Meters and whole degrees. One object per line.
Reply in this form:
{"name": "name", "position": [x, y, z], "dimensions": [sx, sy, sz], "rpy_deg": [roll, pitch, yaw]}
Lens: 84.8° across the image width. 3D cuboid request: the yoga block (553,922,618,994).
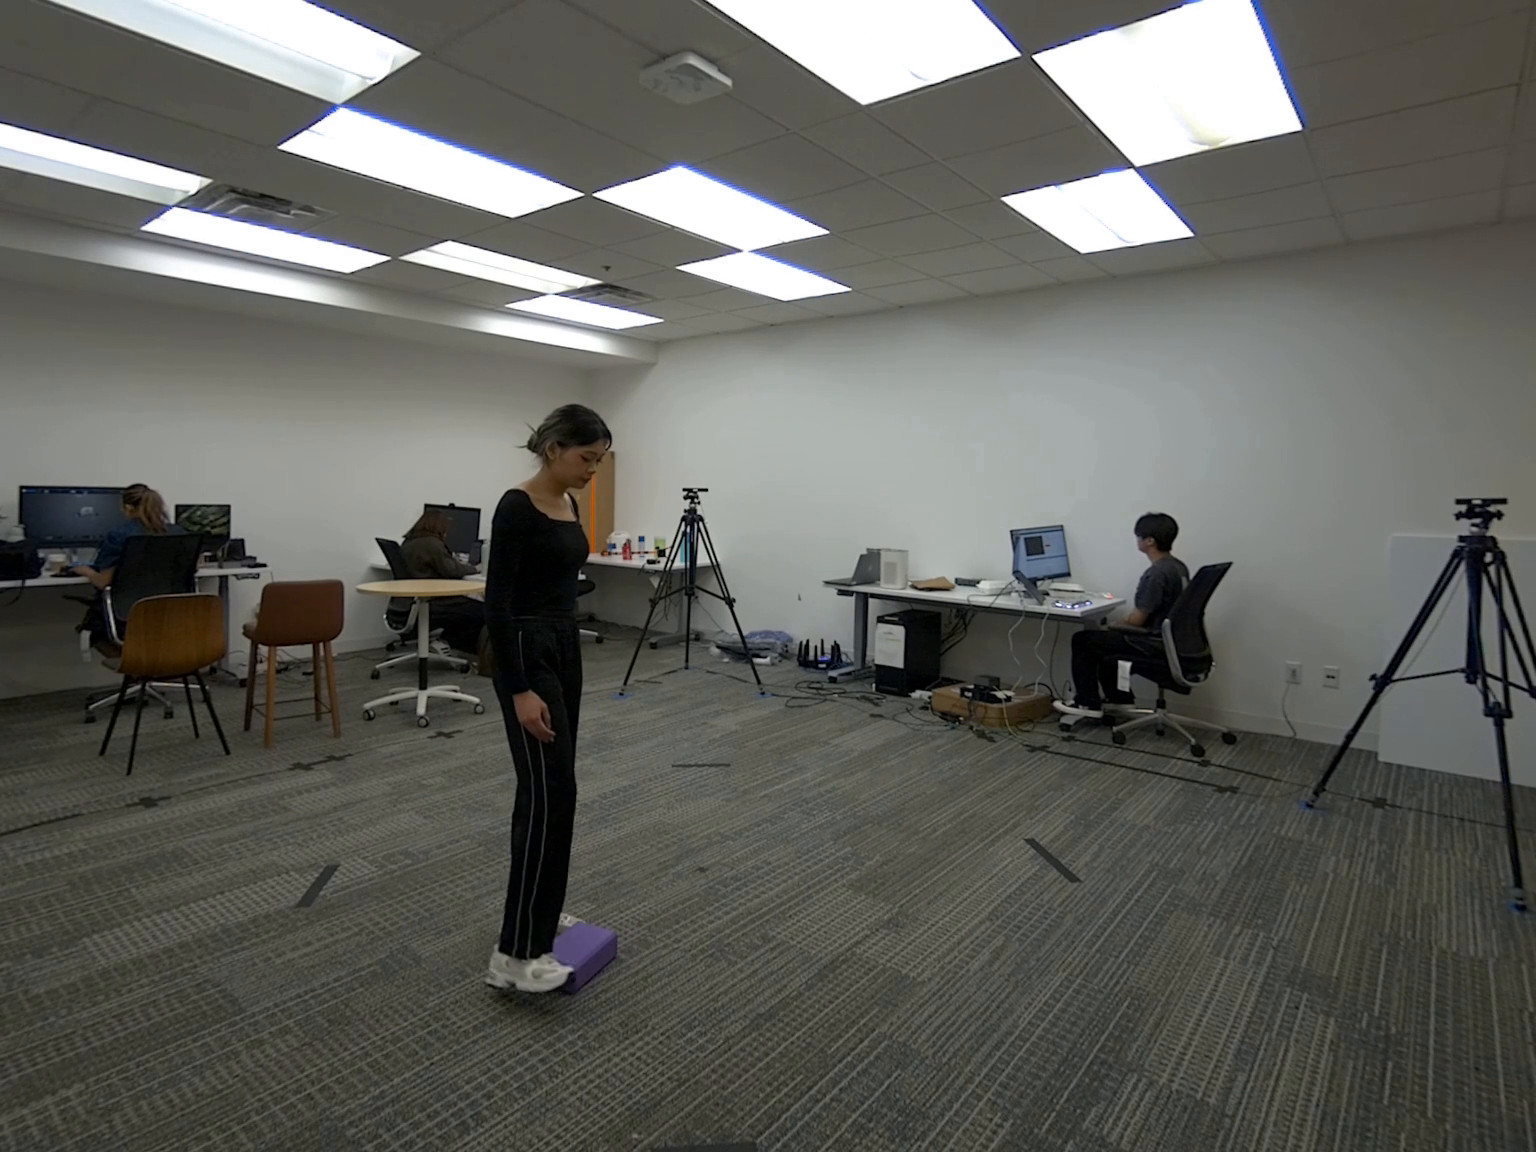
{"name": "yoga block", "position": [-0.561, 1.088, 2.448], "dimensions": [0.153, 0.076, 0.224], "rpy_deg": [4, 6, 23]}
